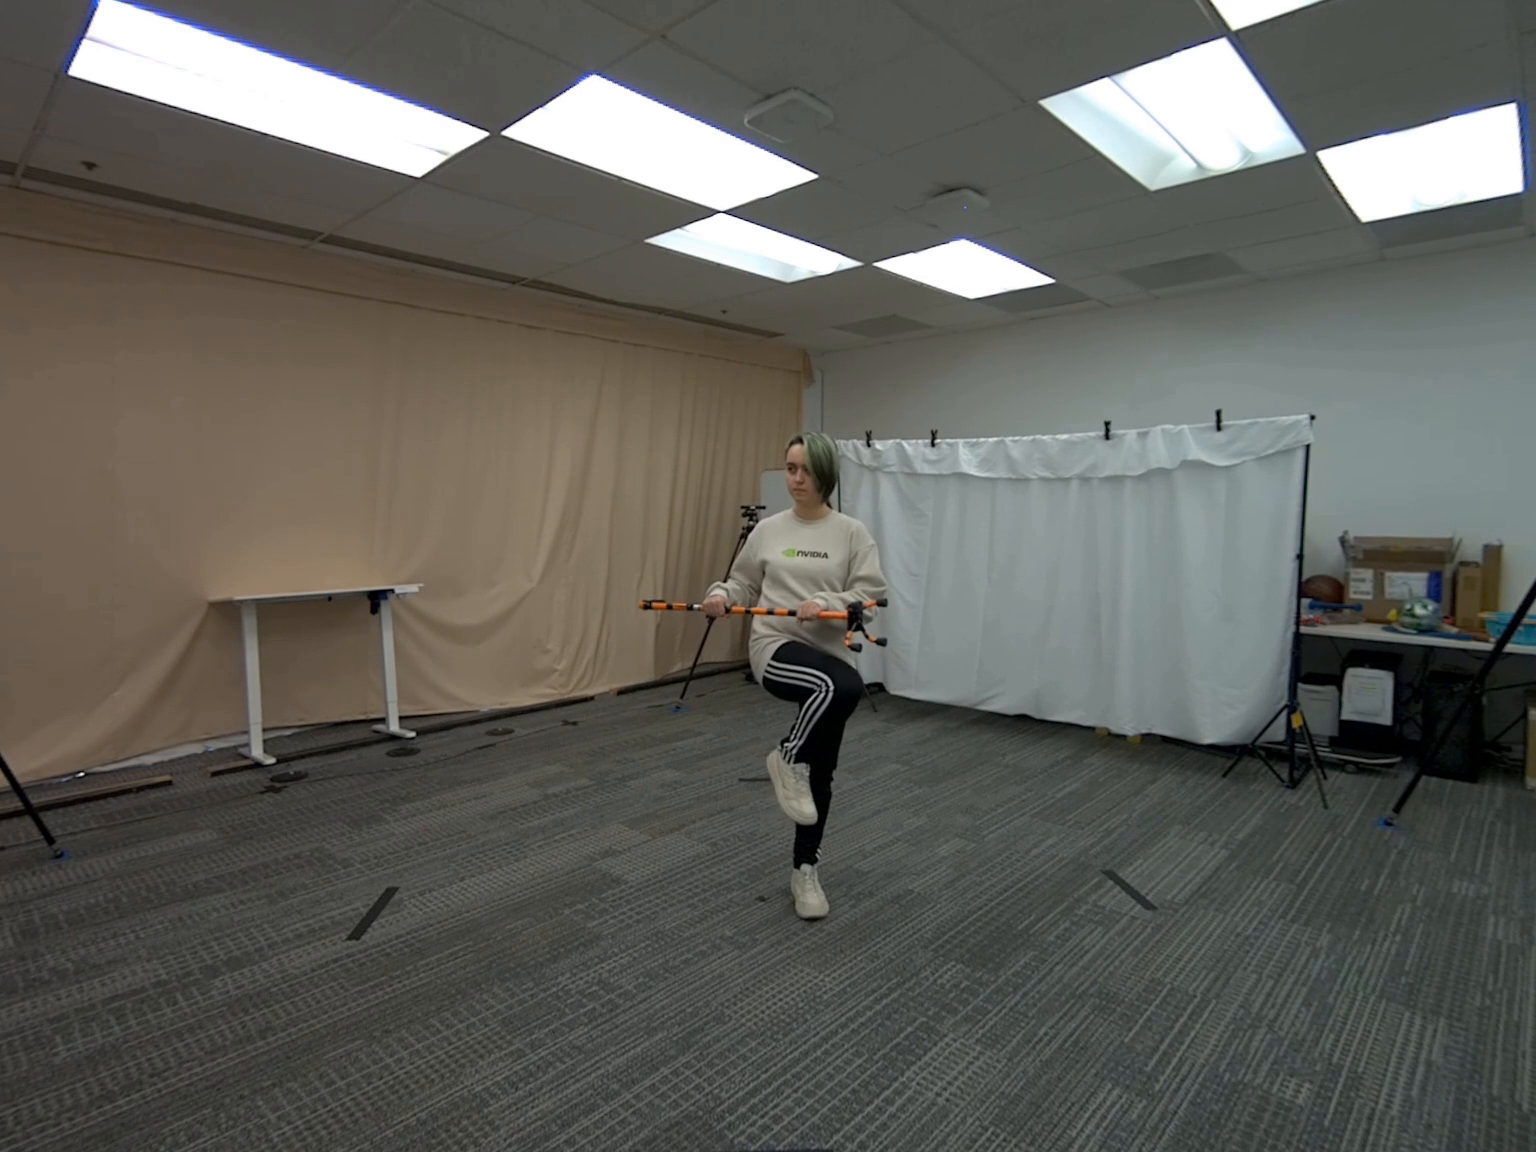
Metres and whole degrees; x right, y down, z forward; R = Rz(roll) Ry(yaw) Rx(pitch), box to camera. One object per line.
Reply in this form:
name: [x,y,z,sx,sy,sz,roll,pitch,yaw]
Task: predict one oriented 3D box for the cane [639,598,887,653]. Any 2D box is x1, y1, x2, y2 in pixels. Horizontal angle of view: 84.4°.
cane: [-0.075,0.133,2.764,0.936,0.151,0.200,2,2,34]
